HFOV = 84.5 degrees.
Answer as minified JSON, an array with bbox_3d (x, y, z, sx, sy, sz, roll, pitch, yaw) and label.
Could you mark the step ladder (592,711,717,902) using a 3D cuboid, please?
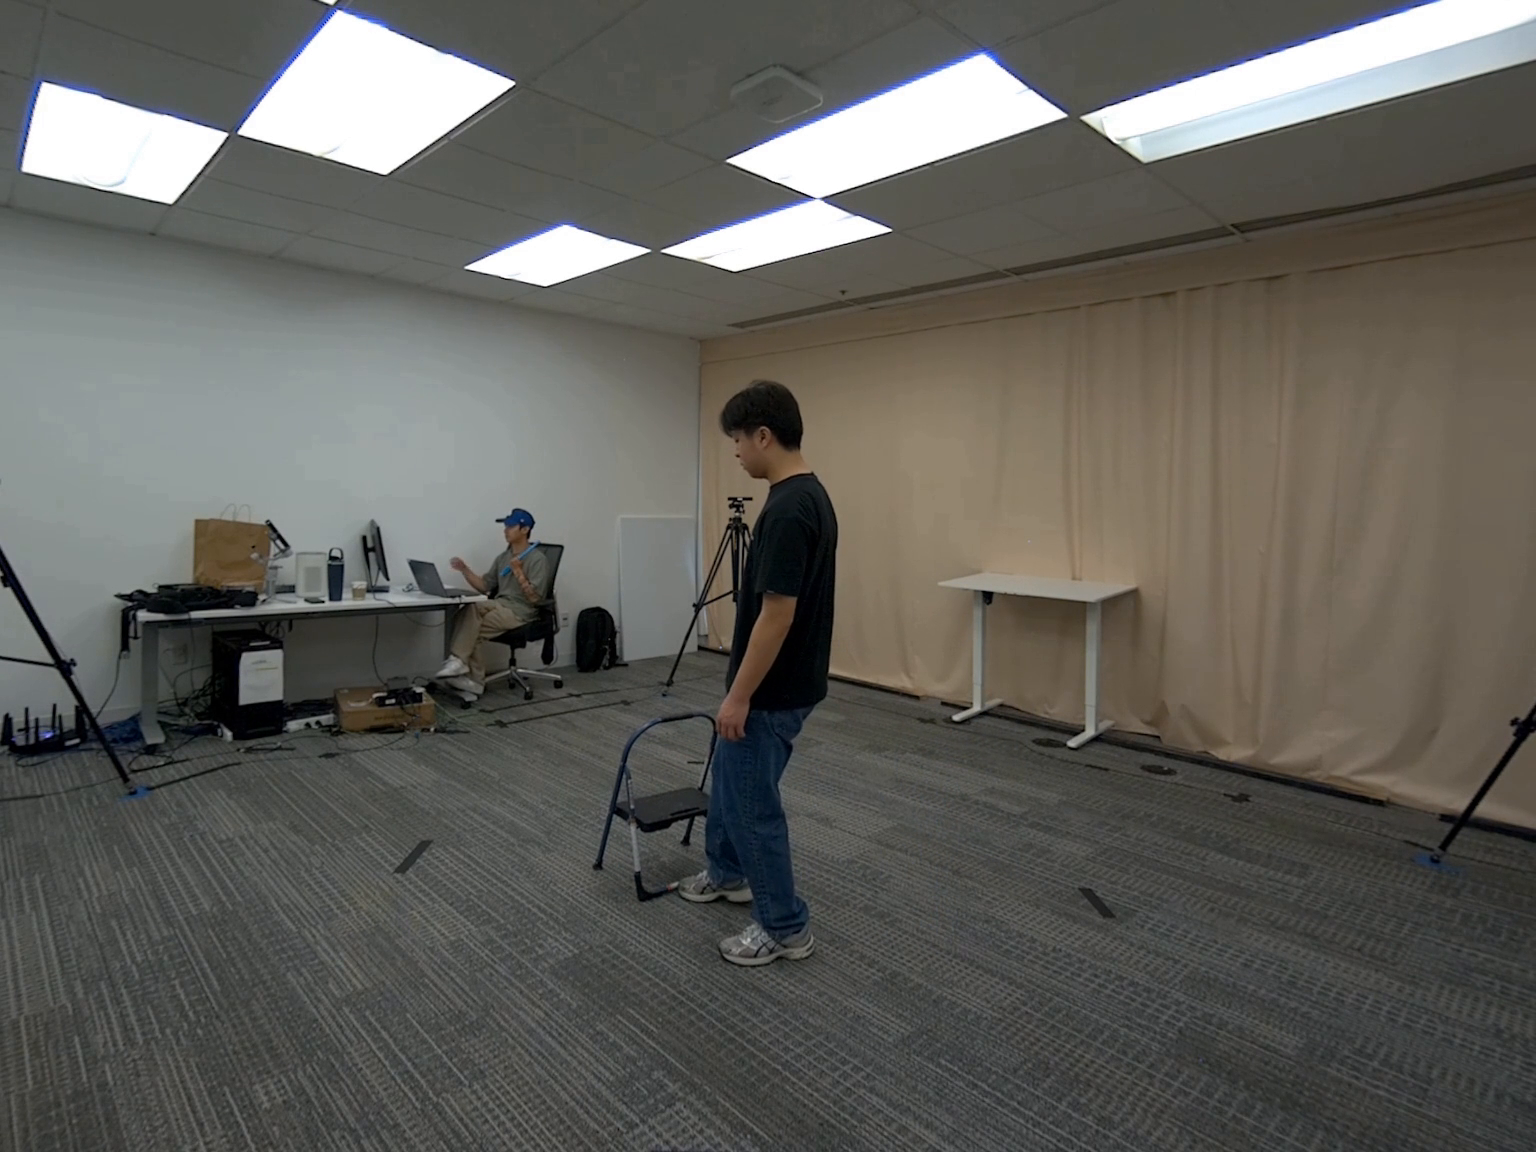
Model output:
[{"bbox_3d":[-0.383,0.793,3.123,0.421,0.604,0.358,-2,5,-39],"label":"step ladder"}]
